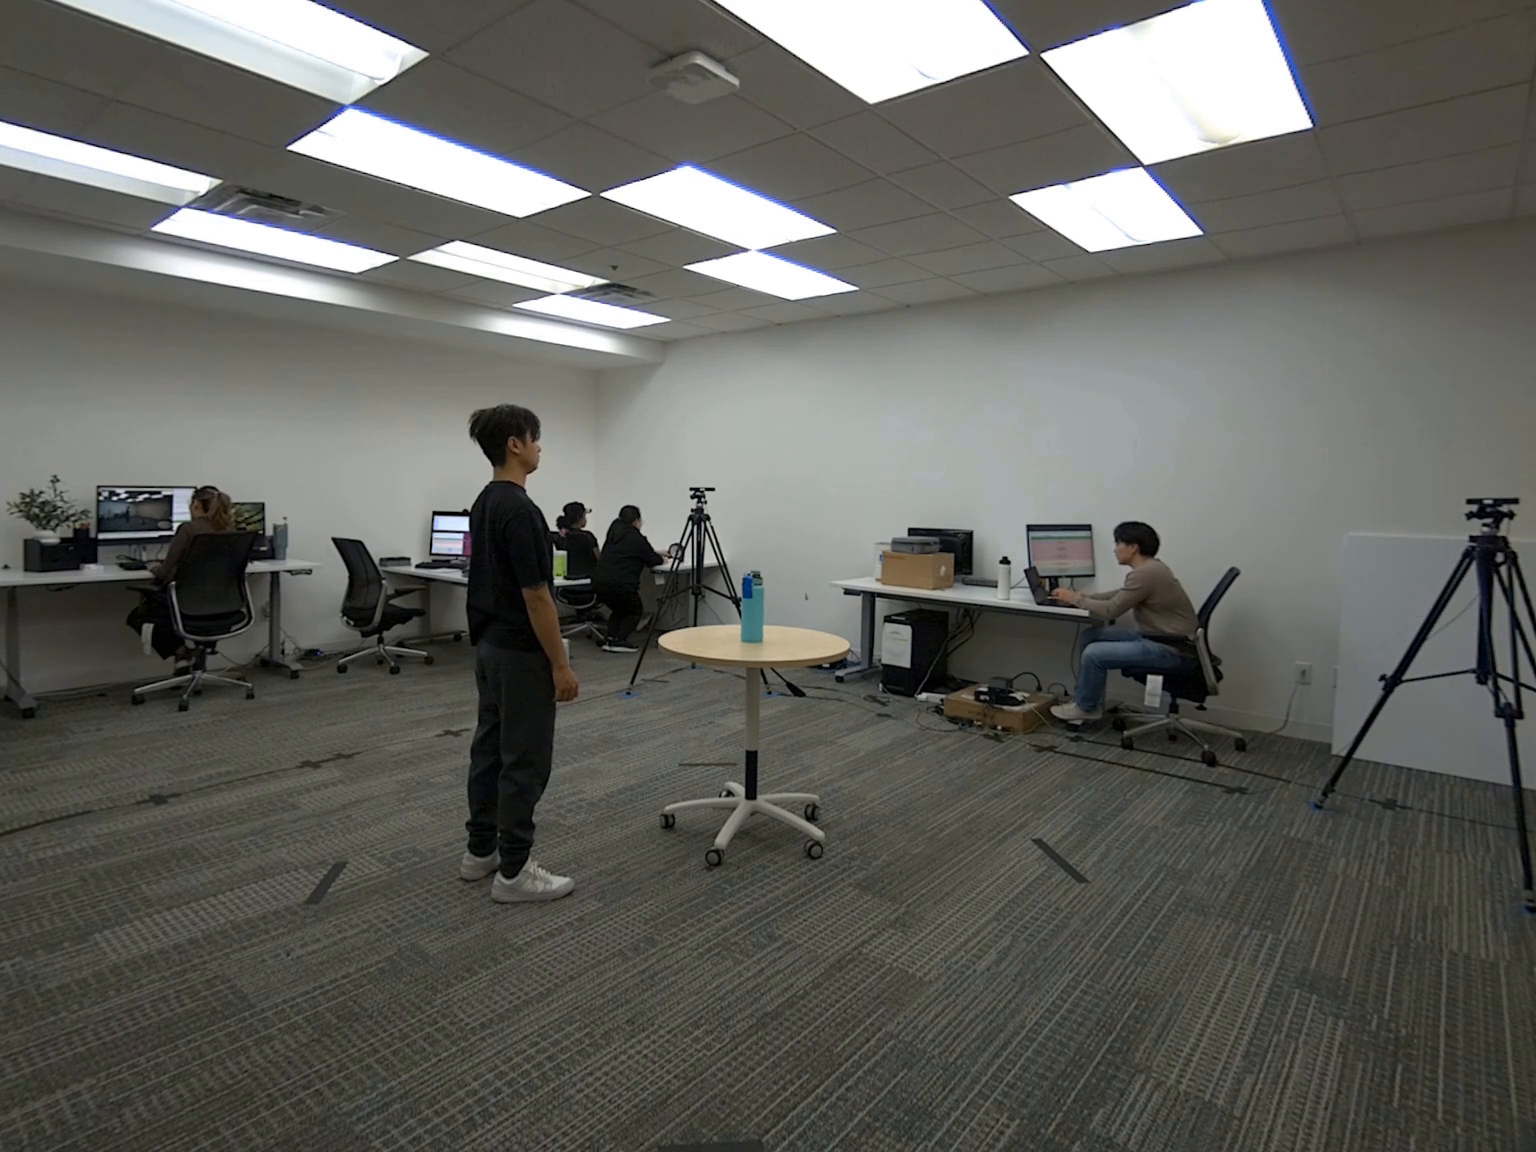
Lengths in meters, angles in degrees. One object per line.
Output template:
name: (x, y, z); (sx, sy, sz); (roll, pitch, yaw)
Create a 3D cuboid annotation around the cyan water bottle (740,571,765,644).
cyan water bottle: (-0.068, 0.122, 3.412); (0.092, 0.282, 0.093); (-3, 5, -2)
